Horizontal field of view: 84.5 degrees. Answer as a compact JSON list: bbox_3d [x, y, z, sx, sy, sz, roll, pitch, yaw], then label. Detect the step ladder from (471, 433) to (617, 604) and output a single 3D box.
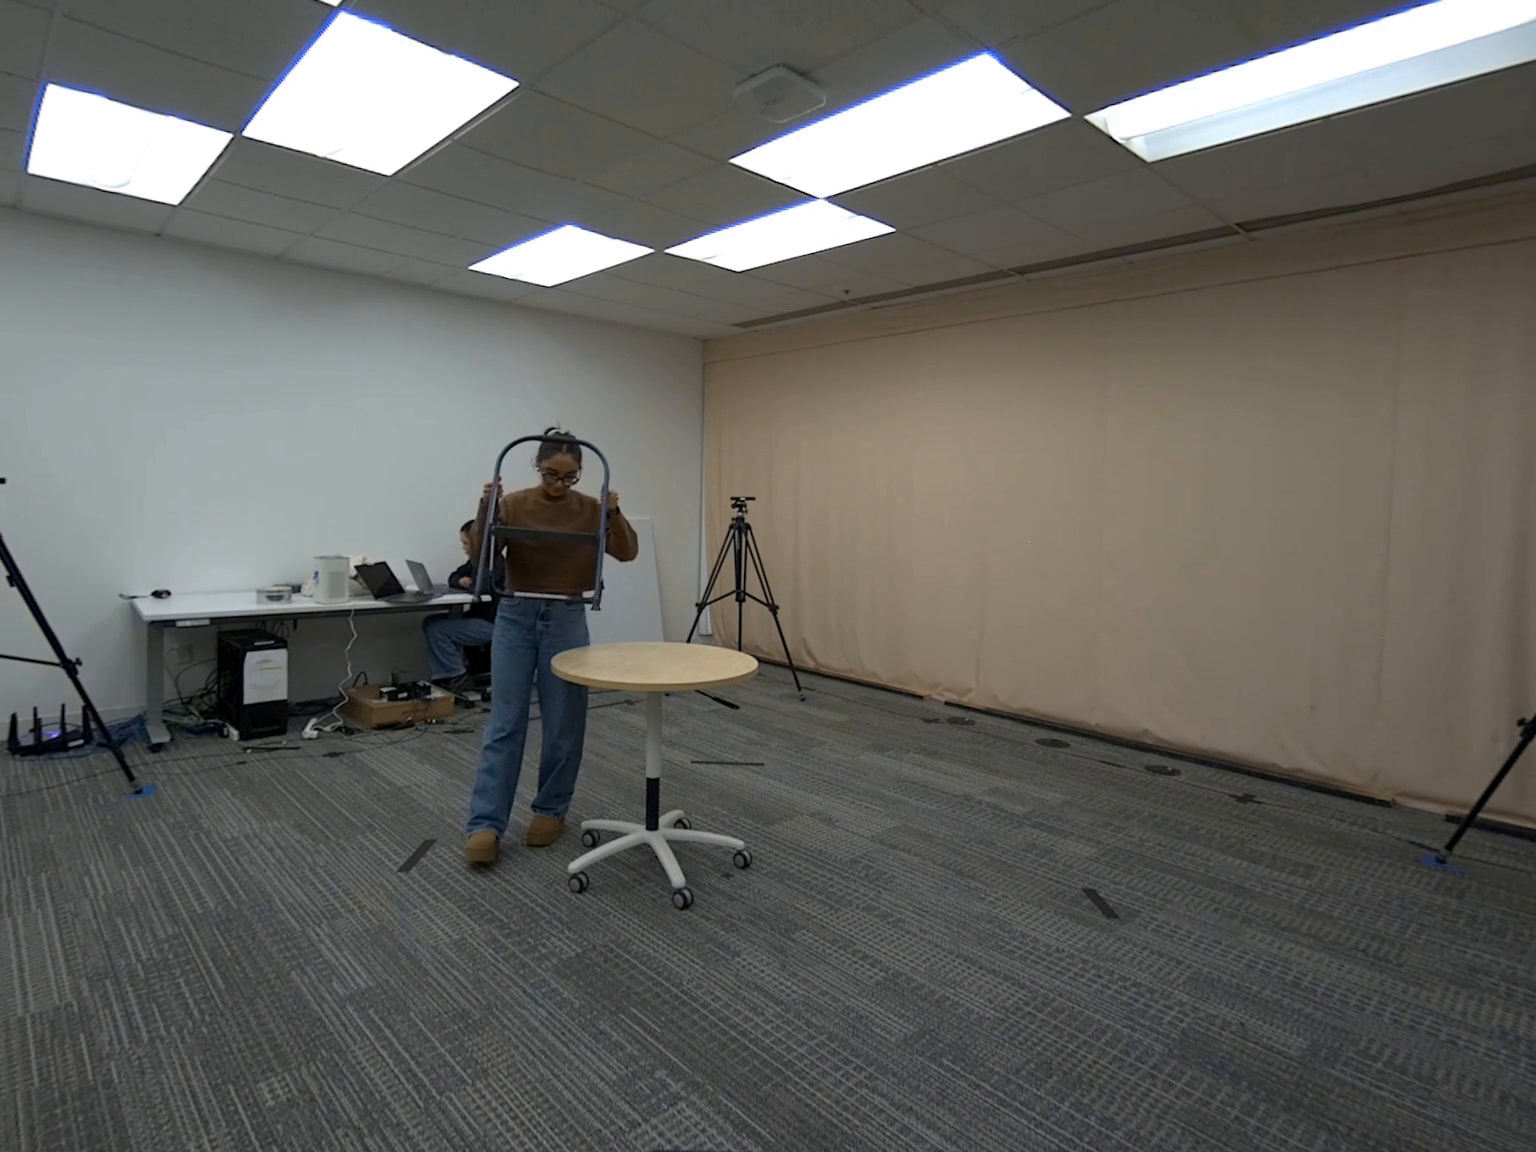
[{"bbox_3d":[-0.794,-0.203,3.002,0.428,0.606,0.351,5,-1,-8],"label":"step ladder"}]
